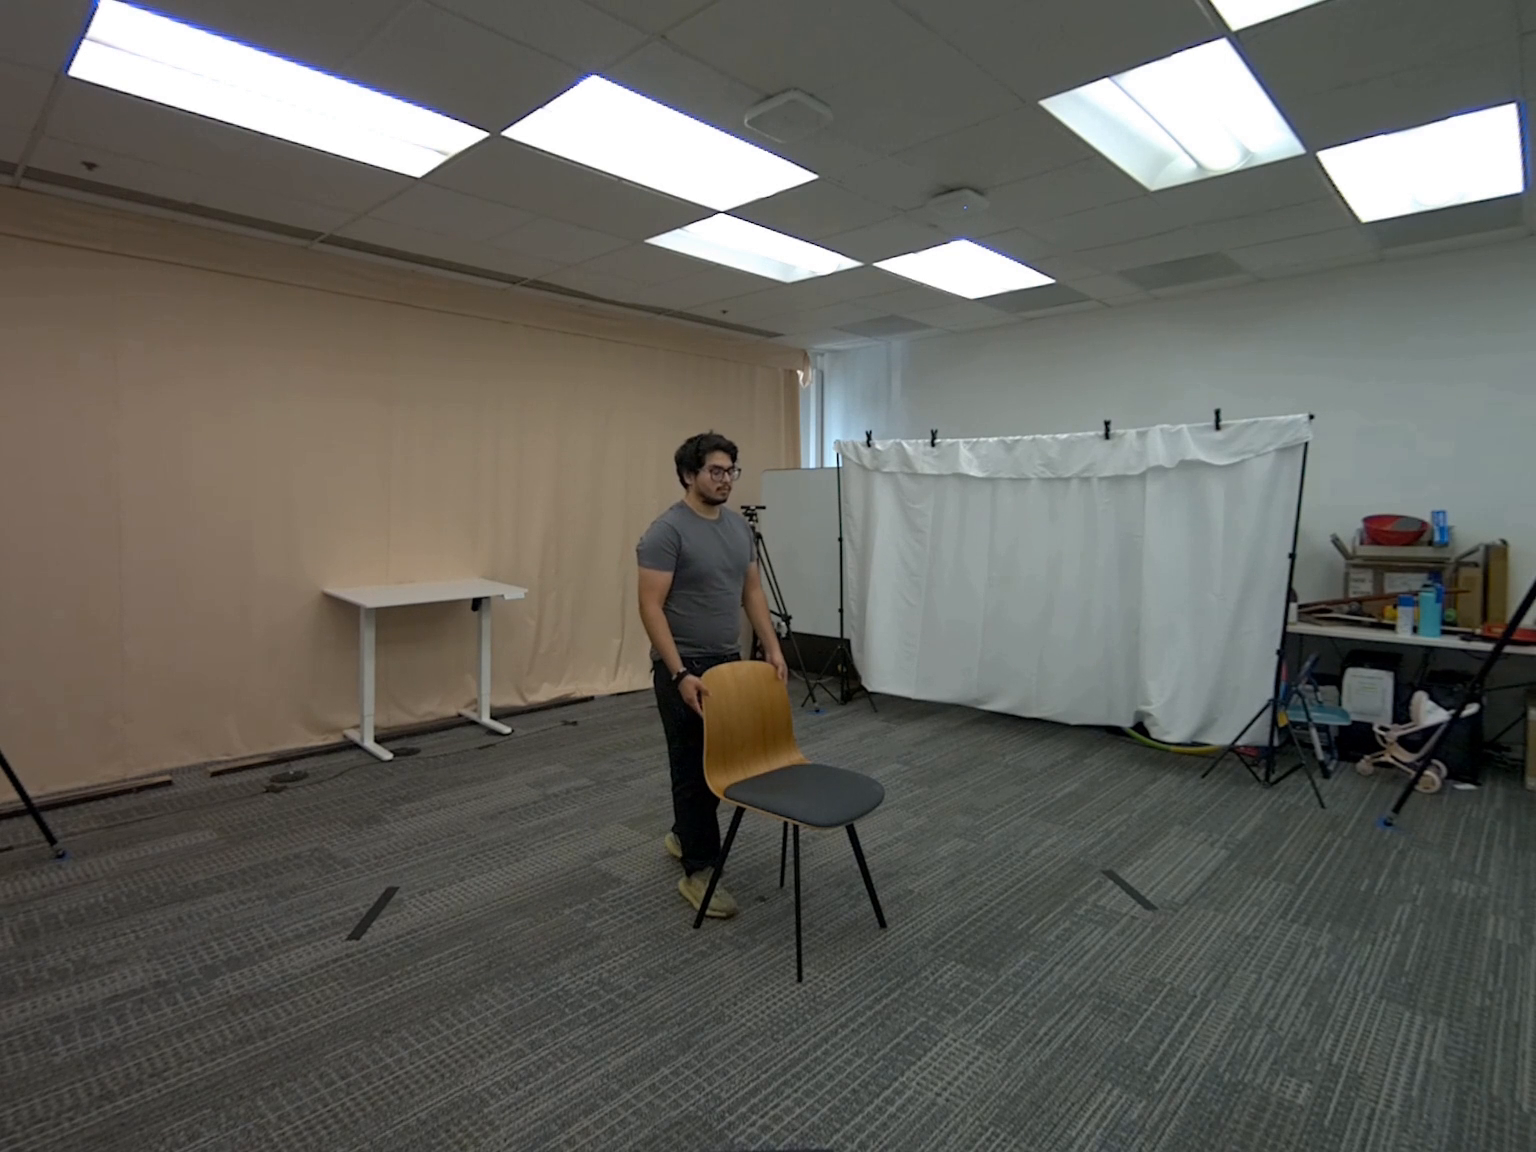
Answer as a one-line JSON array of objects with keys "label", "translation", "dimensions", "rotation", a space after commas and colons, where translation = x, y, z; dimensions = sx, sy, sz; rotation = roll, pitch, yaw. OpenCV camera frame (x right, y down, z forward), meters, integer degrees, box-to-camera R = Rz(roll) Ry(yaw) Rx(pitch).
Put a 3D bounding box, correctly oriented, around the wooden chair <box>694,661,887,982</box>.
[{"label": "wooden chair", "translation": [0.083, 0.732, 2.741], "dimensions": [0.539, 0.877, 0.463], "rotation": [-4, 0, 43]}]
